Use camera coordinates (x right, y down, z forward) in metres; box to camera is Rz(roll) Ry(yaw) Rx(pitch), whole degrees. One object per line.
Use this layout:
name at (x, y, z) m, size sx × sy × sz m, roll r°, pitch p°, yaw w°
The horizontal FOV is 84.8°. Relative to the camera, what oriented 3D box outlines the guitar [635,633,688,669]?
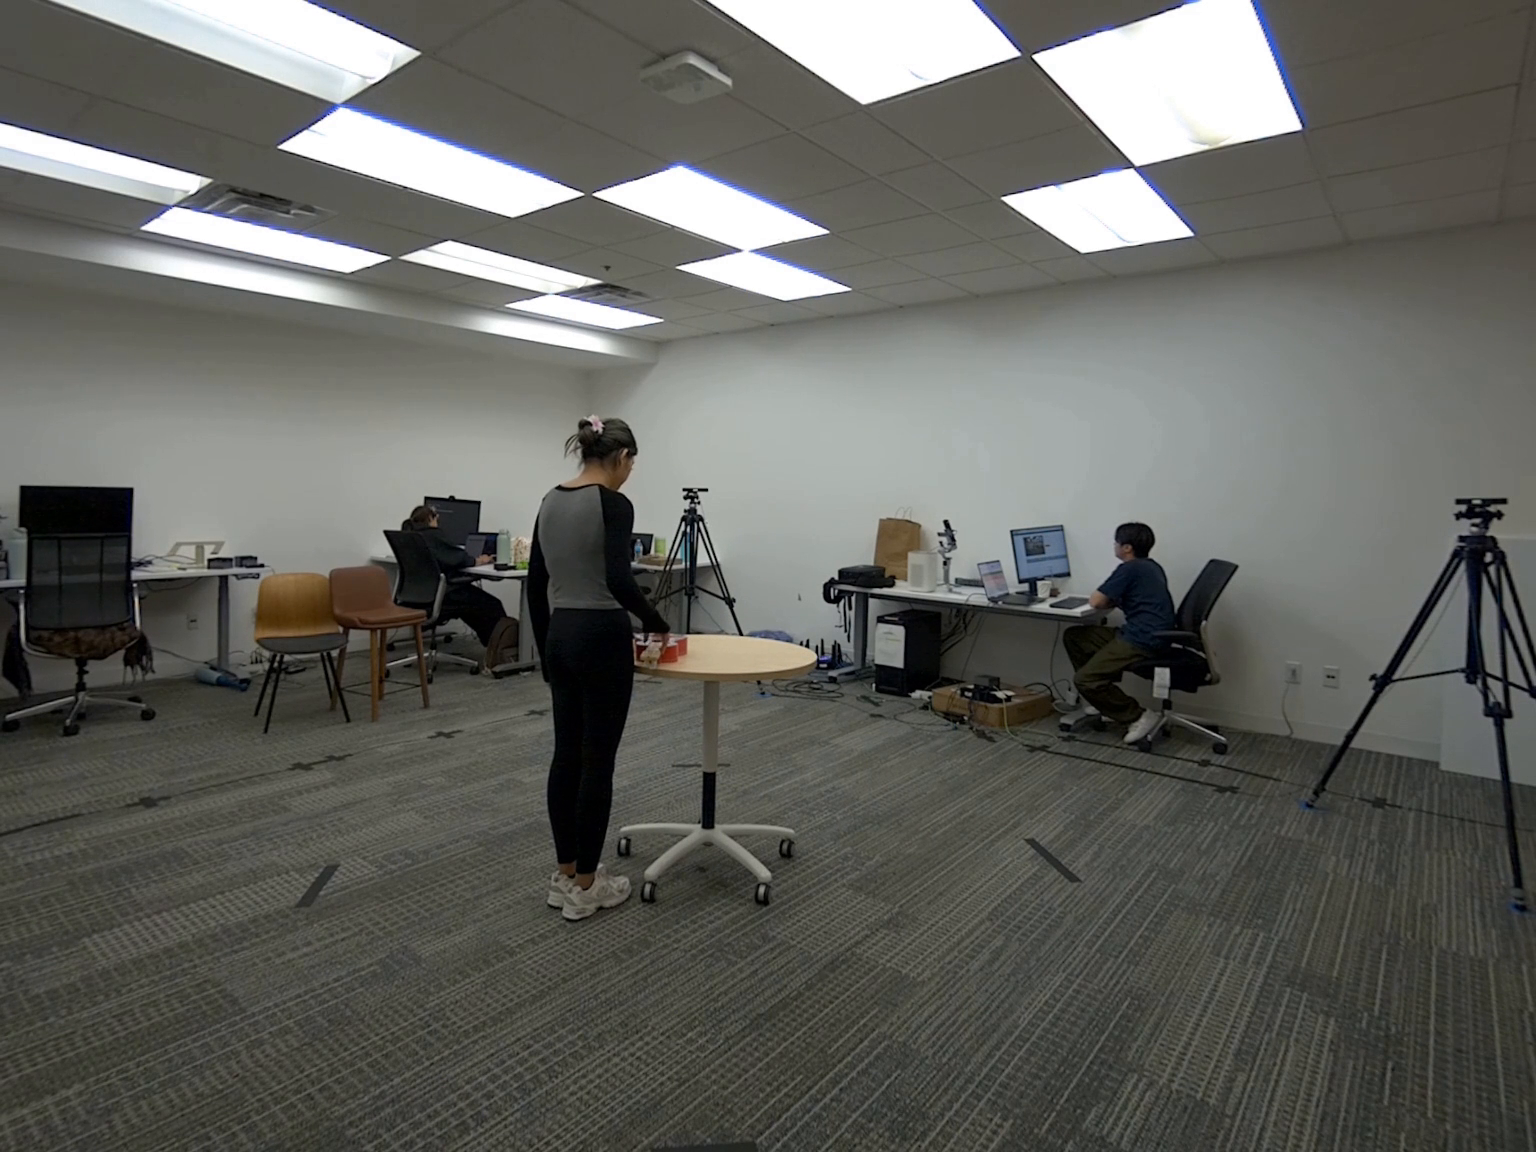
guitar at (-0.415, 0.256, 2.897) m, size 0.195 × 0.070 × 0.494 m, roll 2°, pitch 5°, yaw 8°
